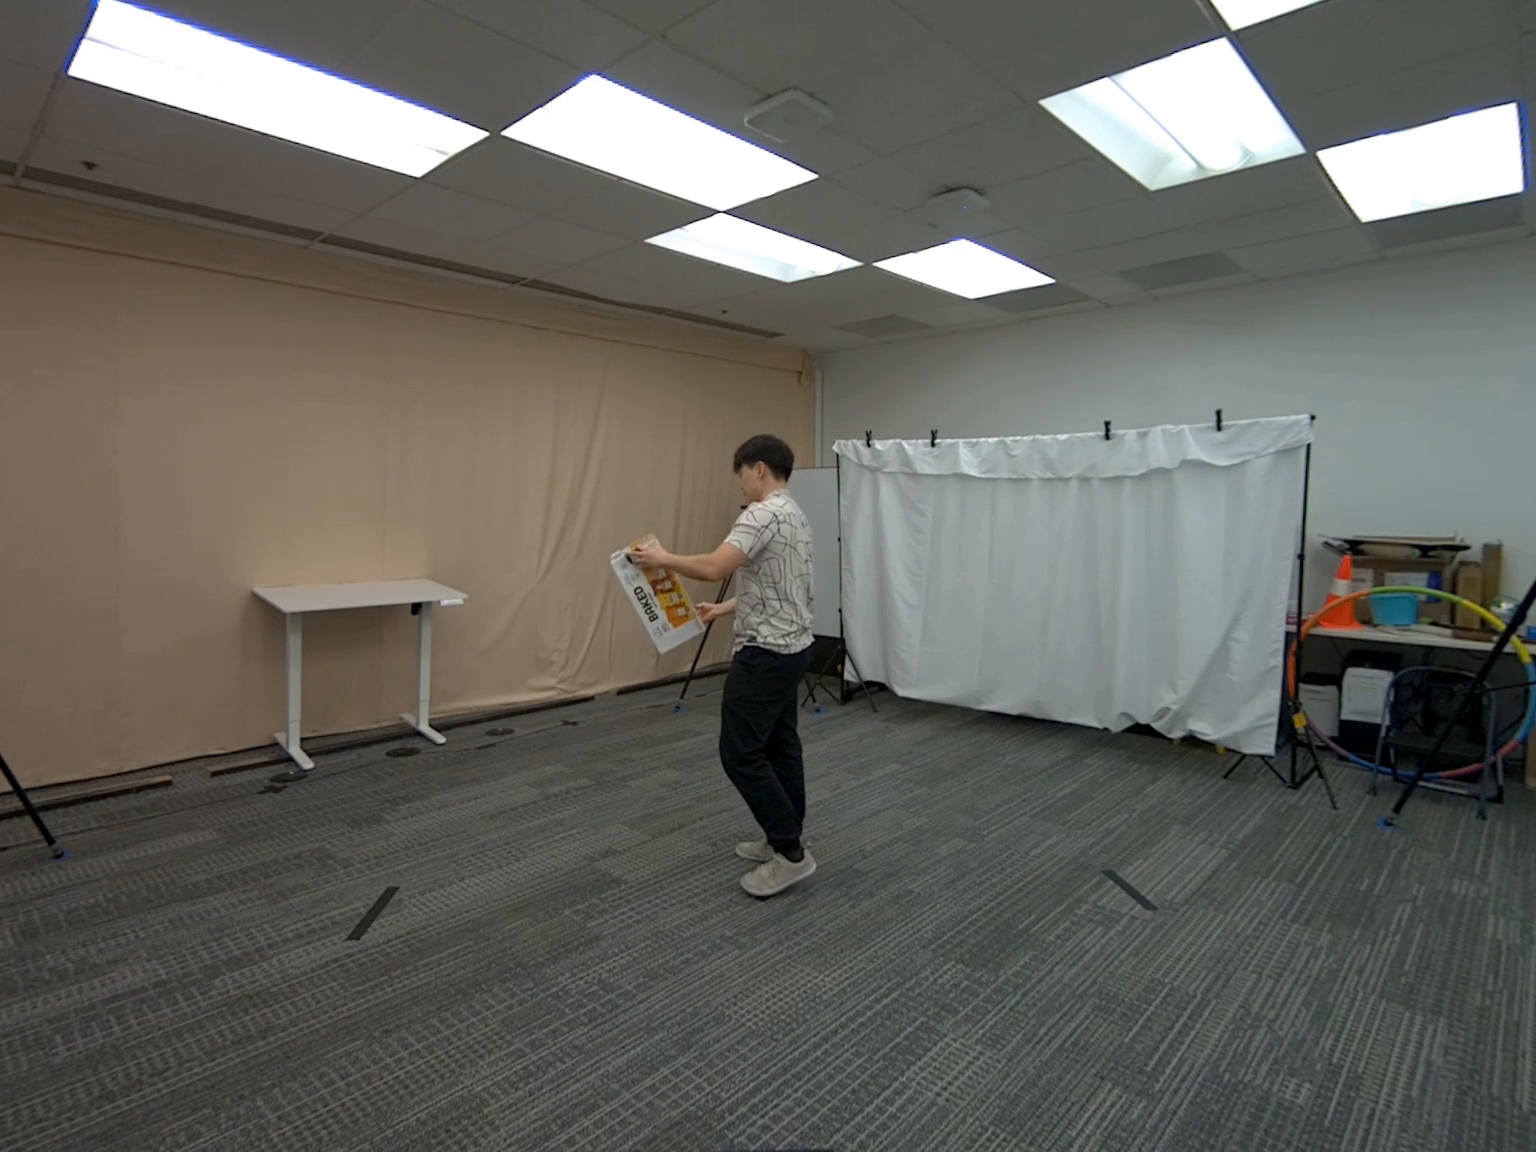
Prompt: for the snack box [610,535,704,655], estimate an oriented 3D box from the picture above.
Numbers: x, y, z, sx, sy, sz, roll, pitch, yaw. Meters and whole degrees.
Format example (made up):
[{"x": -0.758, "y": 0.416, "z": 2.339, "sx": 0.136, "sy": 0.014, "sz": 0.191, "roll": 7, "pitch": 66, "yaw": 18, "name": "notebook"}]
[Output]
[{"x": -0.445, "y": 0.060, "z": 3.398, "sx": 0.205, "sy": 0.402, "sz": 0.344, "roll": -29, "pitch": 7, "yaw": -6, "name": "snack box"}]
